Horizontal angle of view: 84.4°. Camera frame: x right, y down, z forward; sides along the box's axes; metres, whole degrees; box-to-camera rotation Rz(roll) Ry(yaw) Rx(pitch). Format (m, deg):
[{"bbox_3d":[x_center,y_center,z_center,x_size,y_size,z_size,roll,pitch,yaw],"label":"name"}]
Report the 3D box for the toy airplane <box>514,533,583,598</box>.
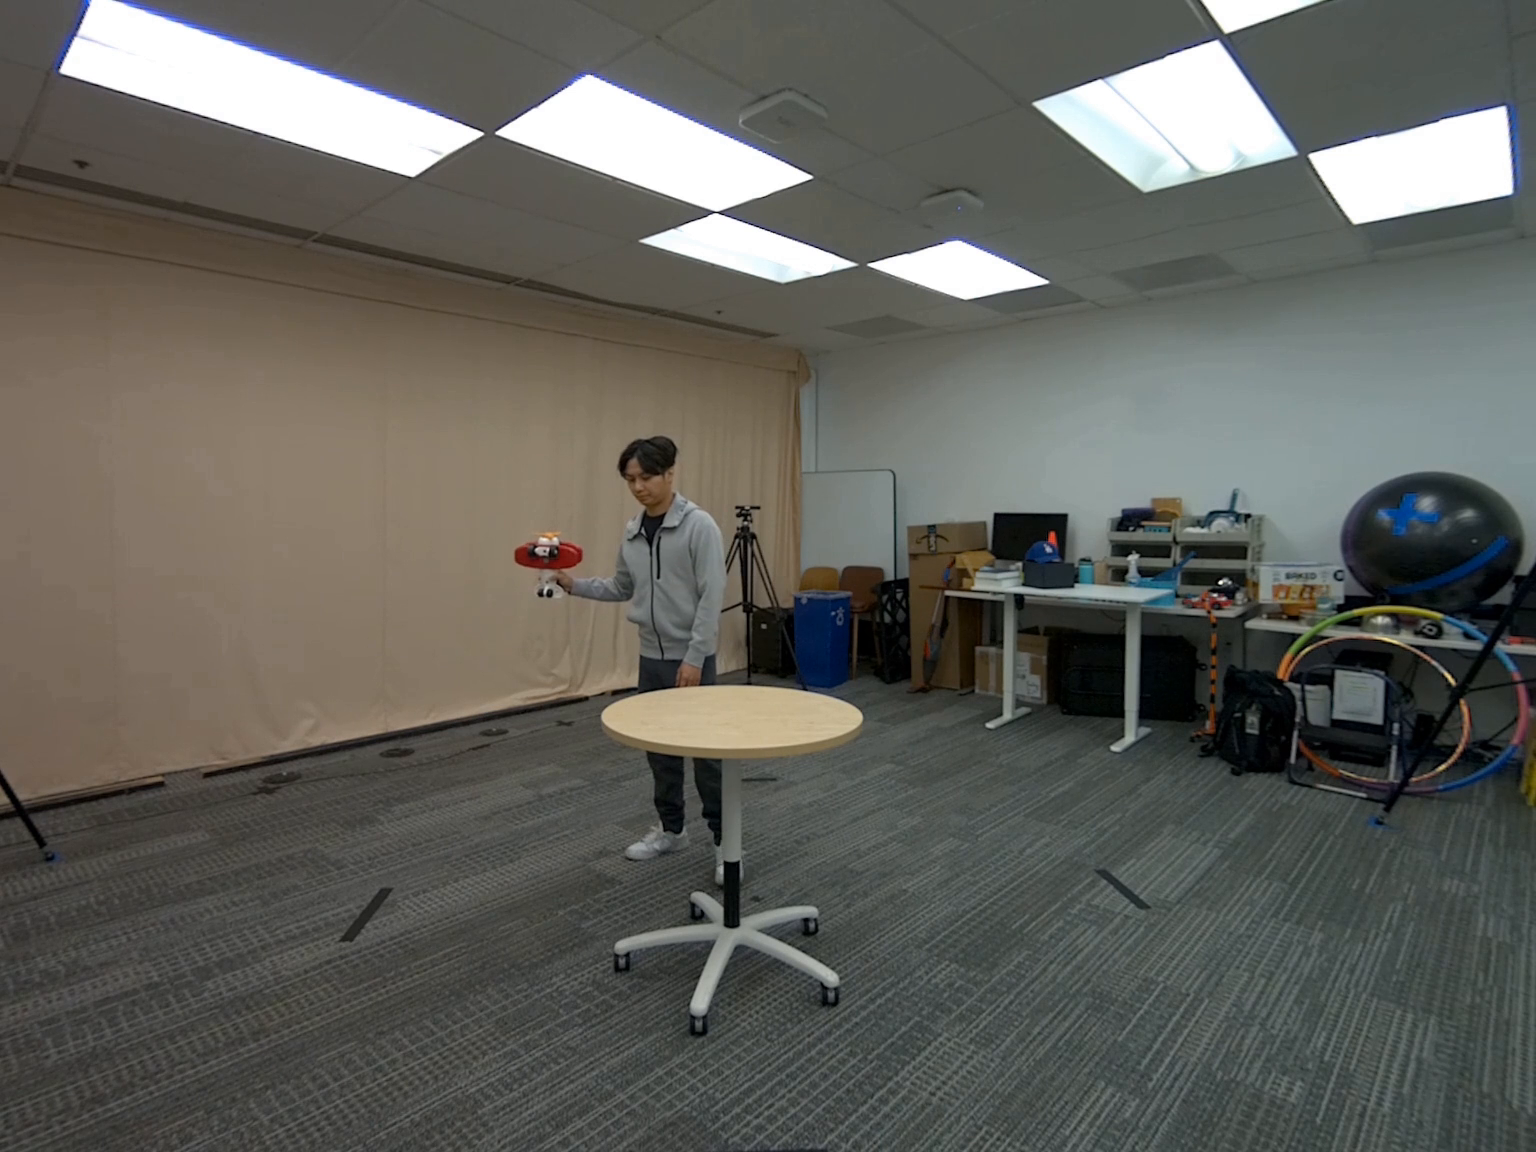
[{"bbox_3d":[-0.897,-0.045,3.357,0.249,0.259,0.157,29,24,-6],"label":"toy airplane"}]
